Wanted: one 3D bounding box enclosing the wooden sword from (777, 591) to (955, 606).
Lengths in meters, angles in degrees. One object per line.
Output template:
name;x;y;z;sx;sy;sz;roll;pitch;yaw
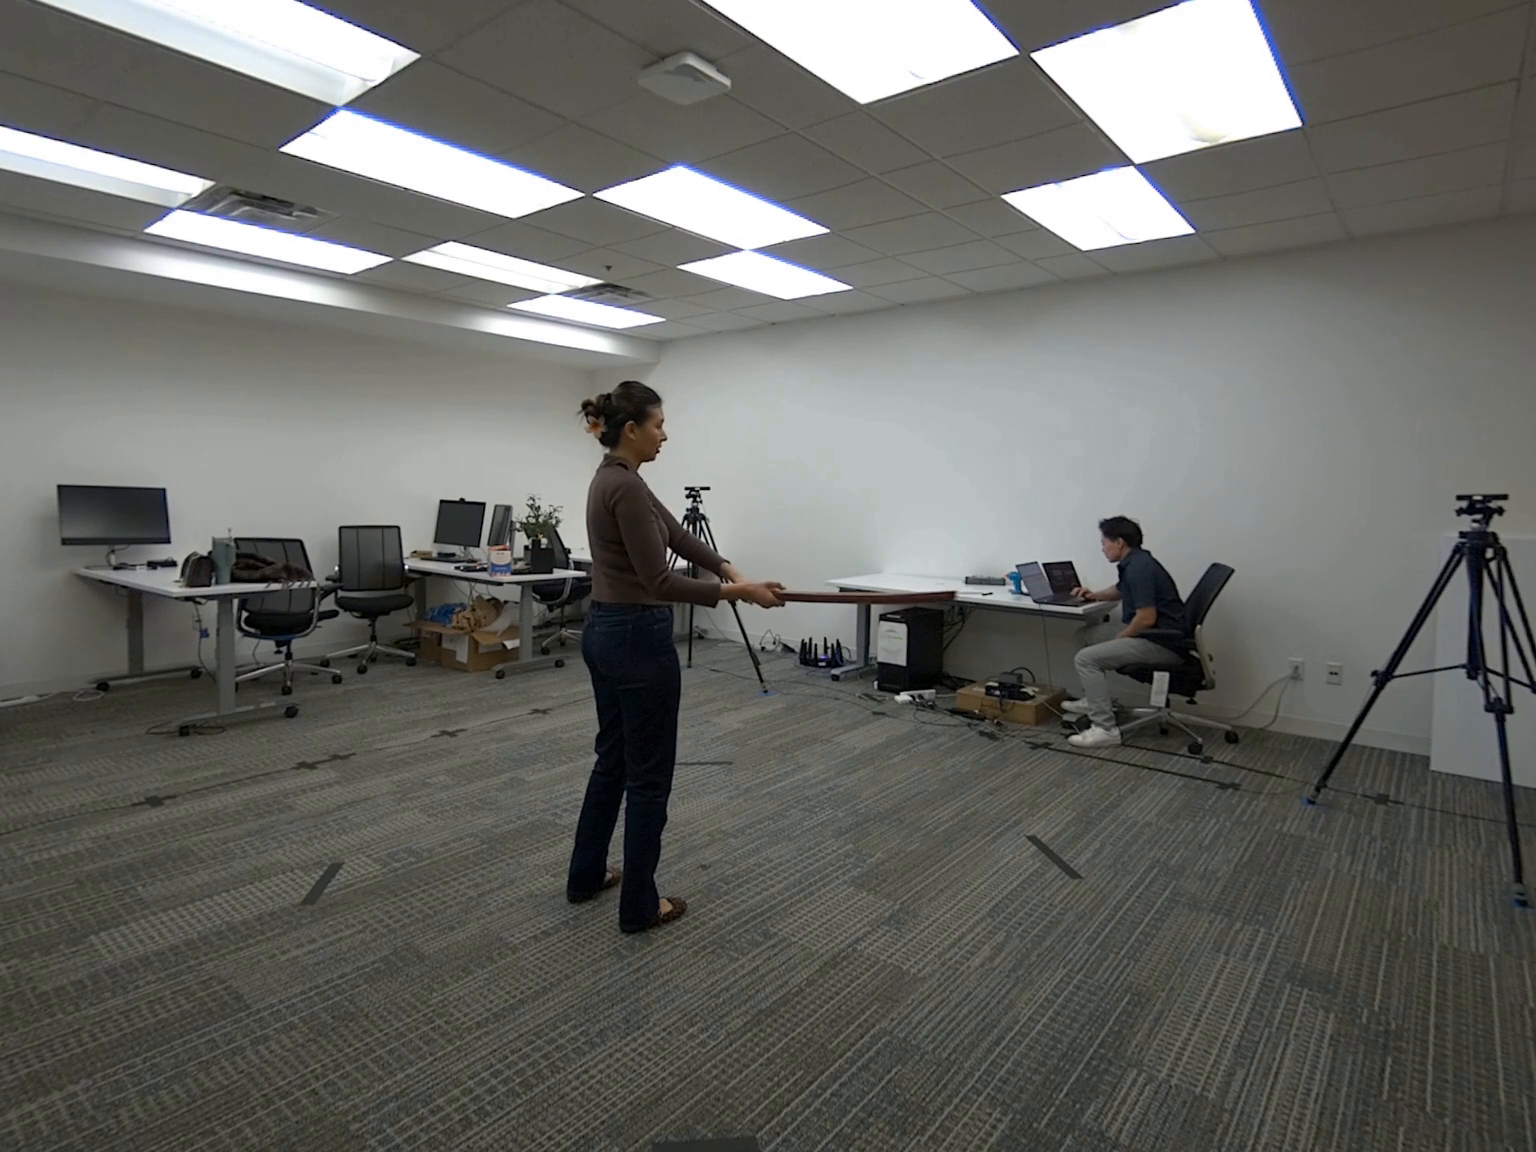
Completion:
wooden sword;0.159;0.059;2.254;0.051;0.023;1.049;-49;21;-21
